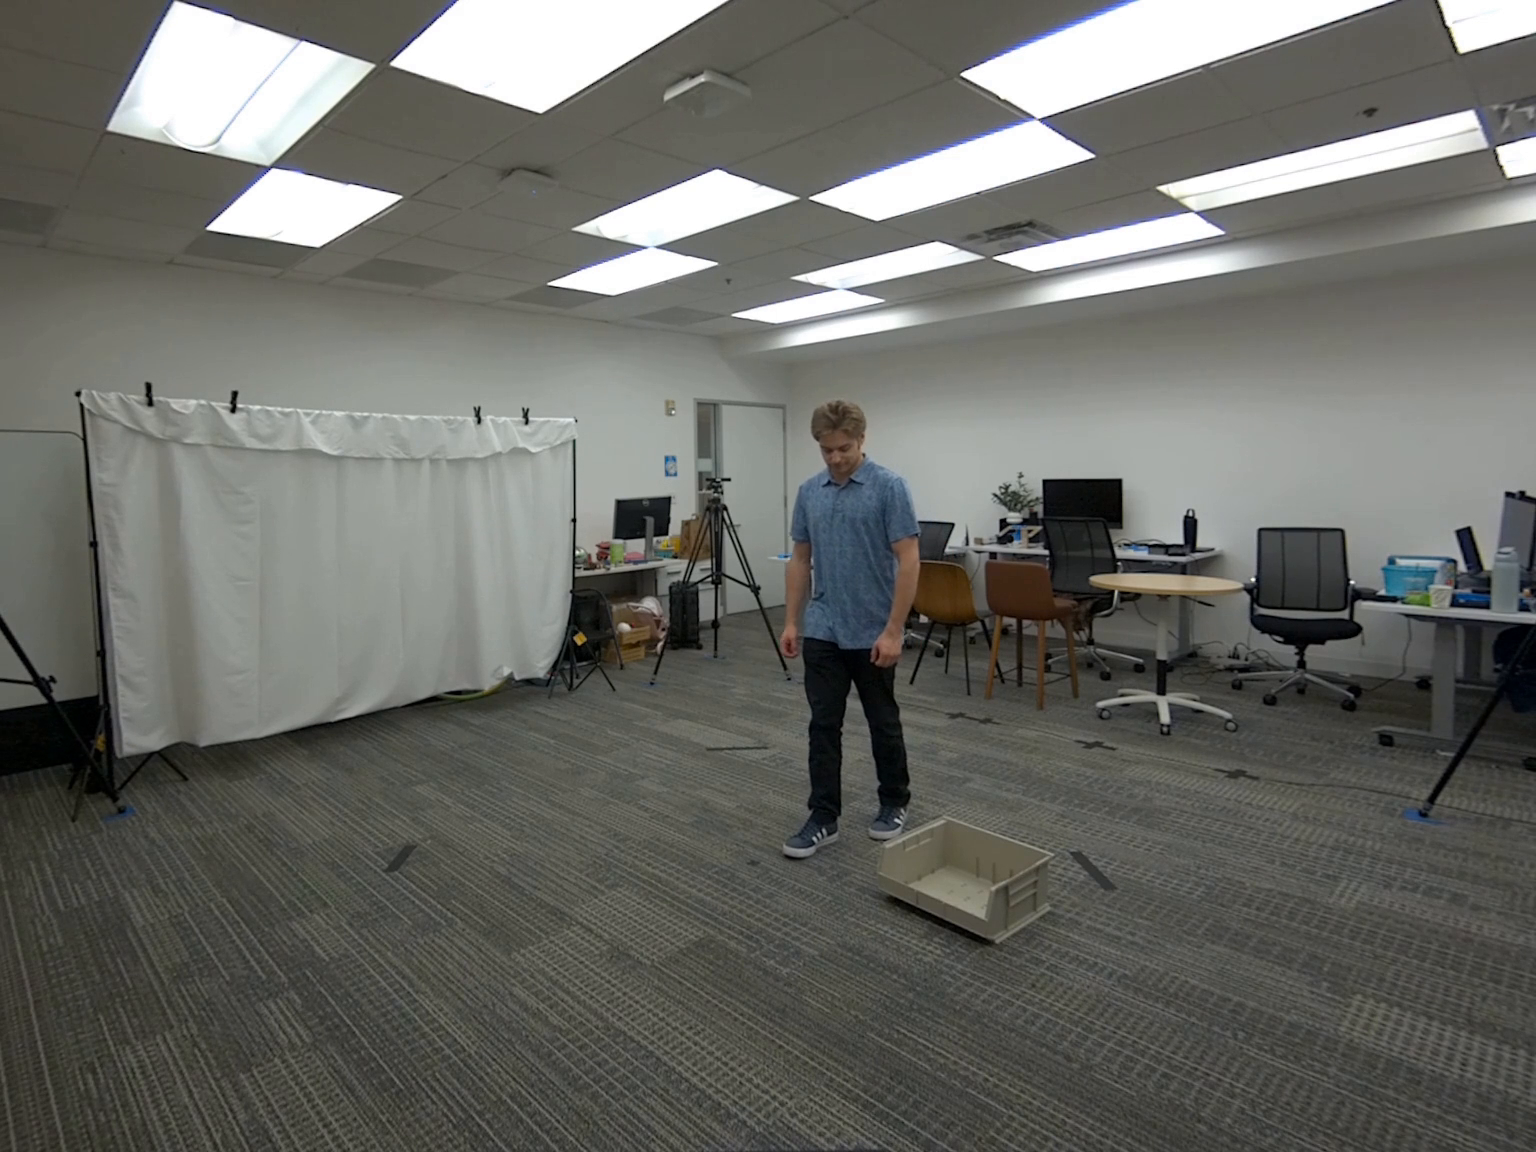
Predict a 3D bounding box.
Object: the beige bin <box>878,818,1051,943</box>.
[{"bbox_3d":[0.641,0.983,2.771,0.367,0.188,0.435,-5,6,-41],"label":"beige bin"}]
